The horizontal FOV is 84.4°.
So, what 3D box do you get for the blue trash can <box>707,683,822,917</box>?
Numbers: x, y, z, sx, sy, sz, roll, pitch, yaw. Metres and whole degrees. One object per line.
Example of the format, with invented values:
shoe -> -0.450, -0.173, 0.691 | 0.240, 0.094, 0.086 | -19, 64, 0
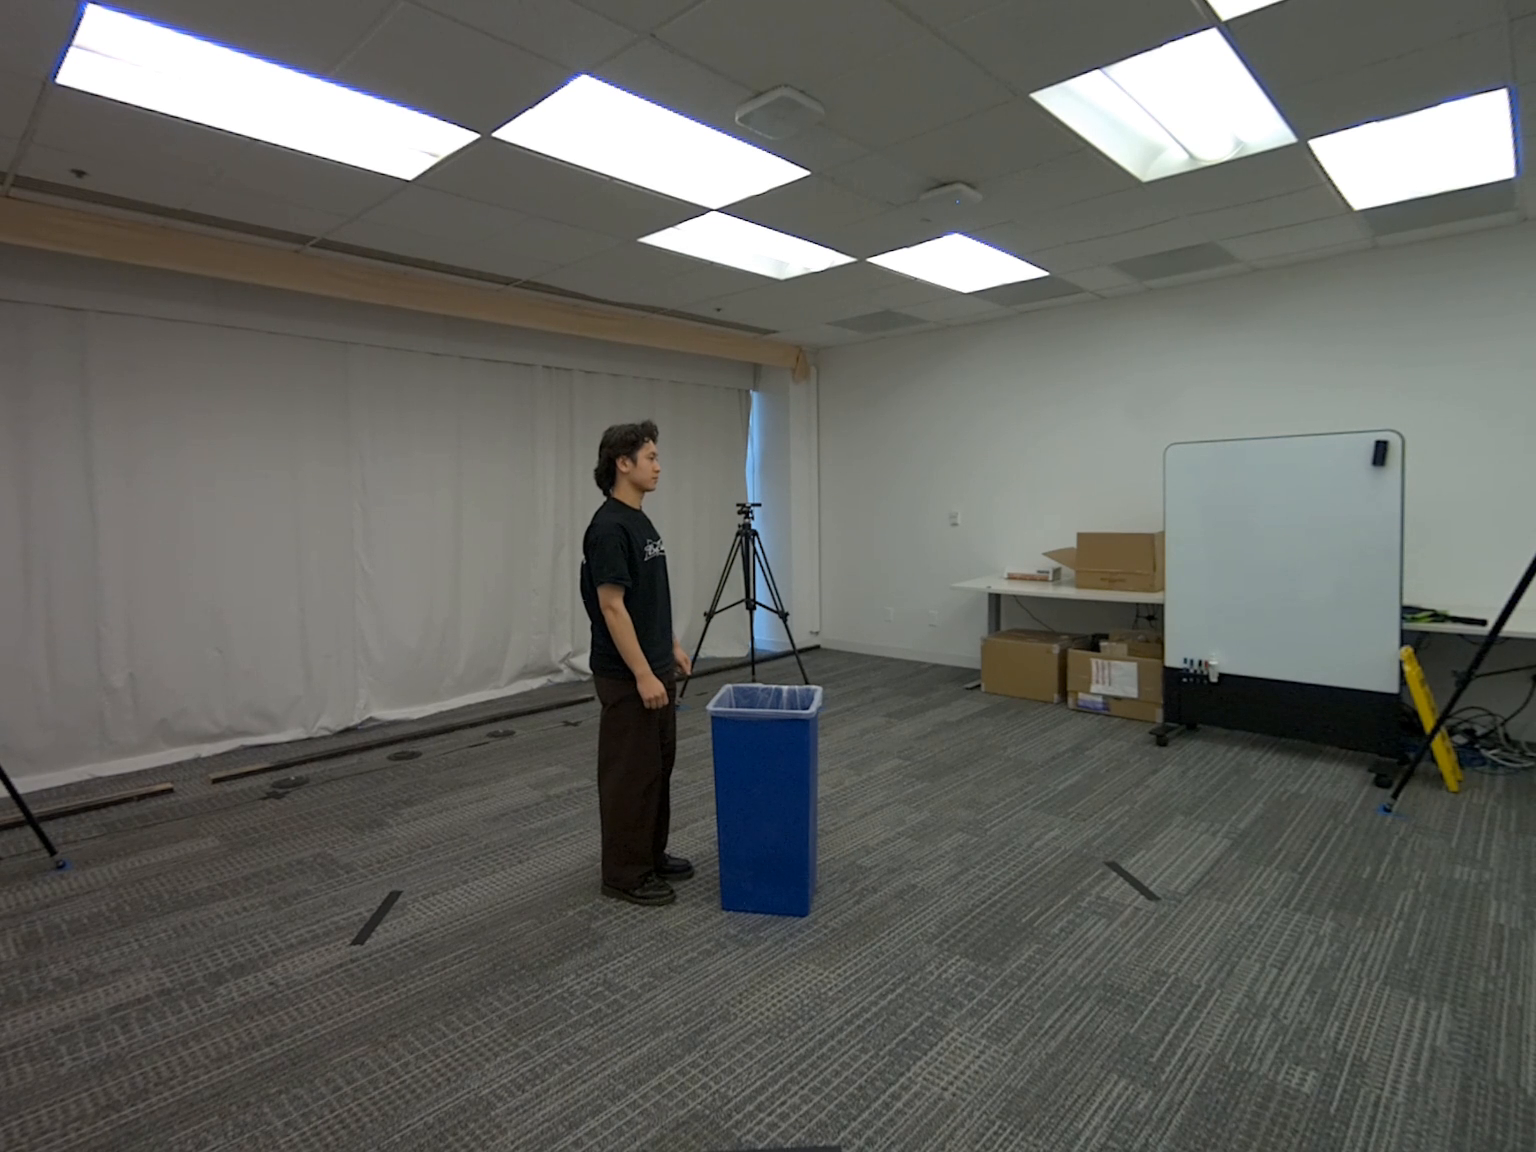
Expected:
blue trash can -> 0.005, 0.777, 2.969 | 0.383, 0.712, 0.370 | 0, 3, 10
